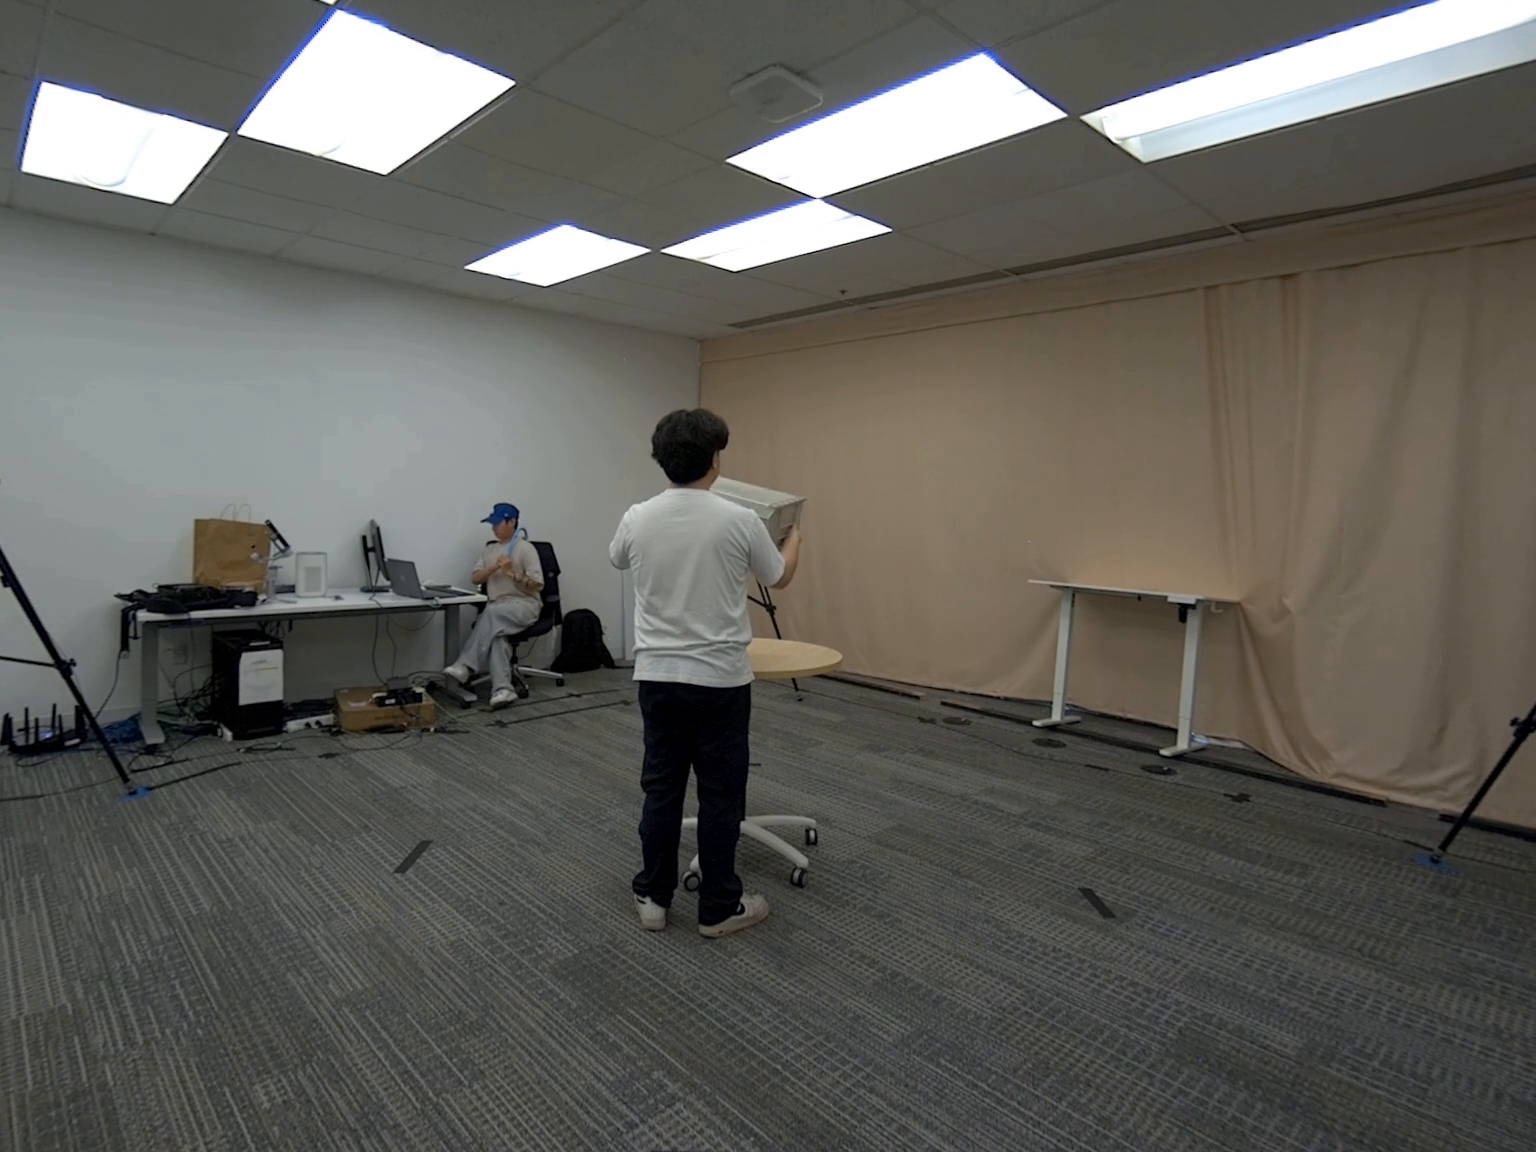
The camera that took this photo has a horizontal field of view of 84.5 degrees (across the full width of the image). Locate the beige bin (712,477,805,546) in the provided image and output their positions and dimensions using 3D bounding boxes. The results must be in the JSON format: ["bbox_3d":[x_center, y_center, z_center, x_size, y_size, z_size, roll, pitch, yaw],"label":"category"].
[{"bbox_3d":[-0.126,-0.233,3.116,0.431,0.187,0.373,16,16,22],"label":"beige bin"}]
